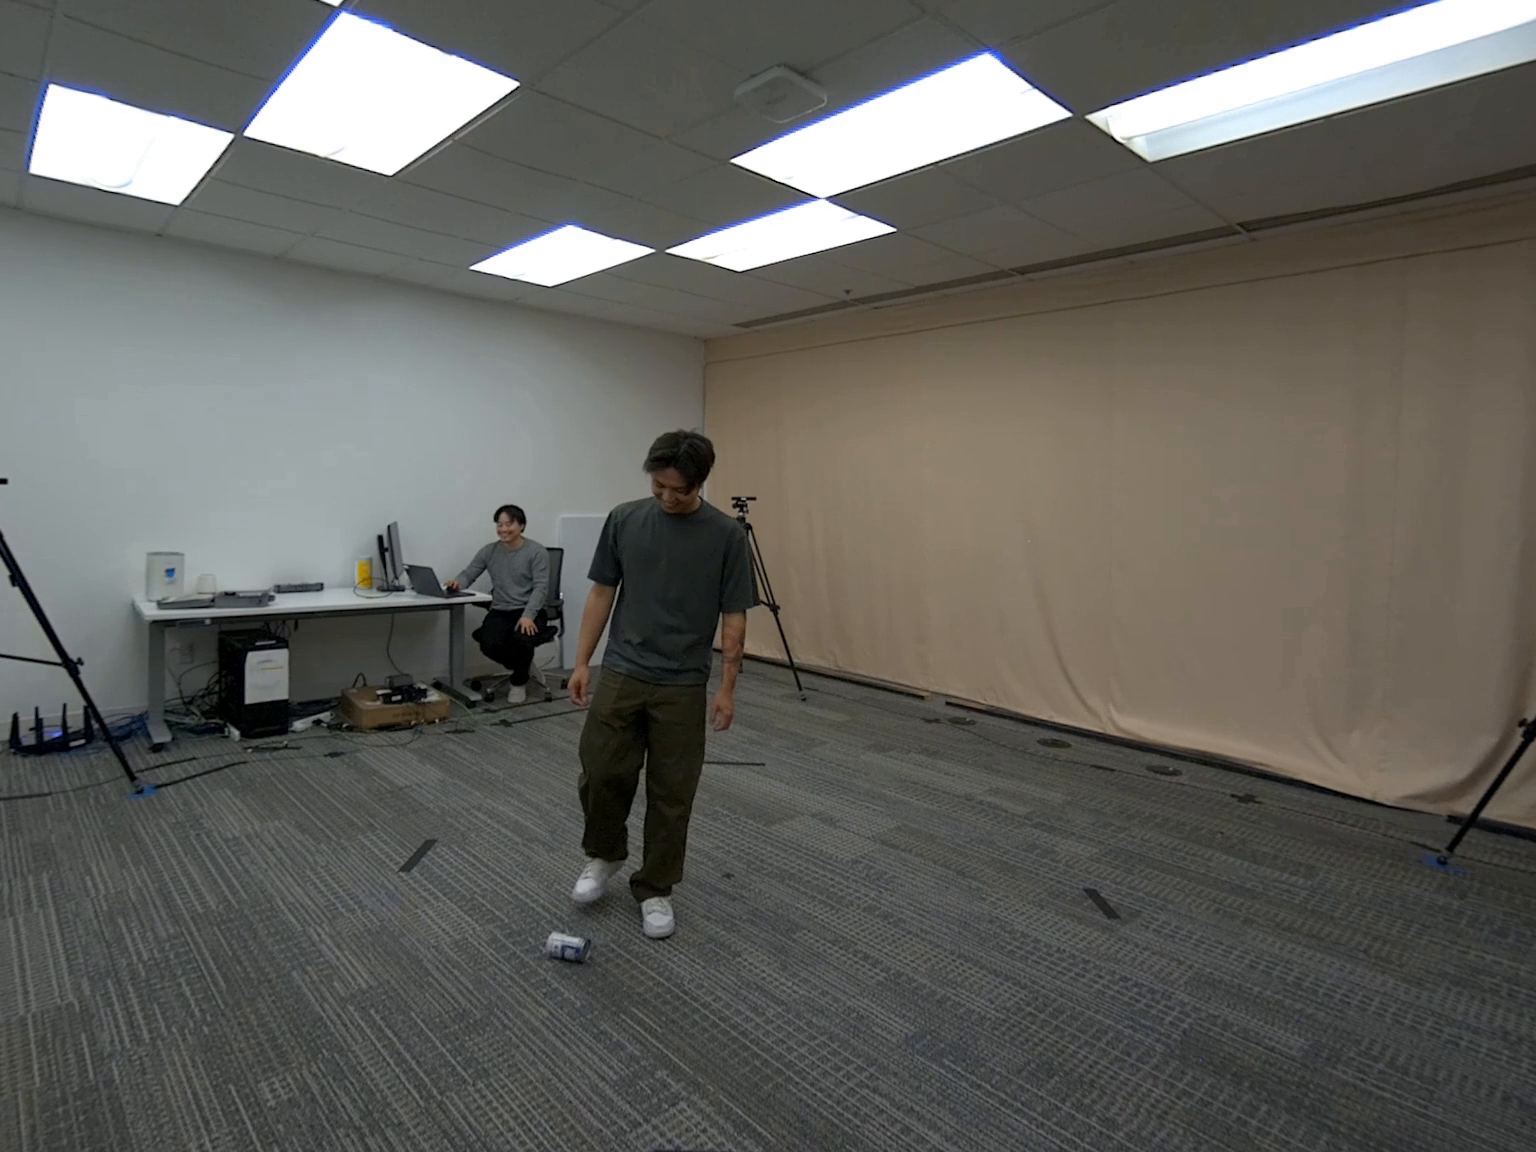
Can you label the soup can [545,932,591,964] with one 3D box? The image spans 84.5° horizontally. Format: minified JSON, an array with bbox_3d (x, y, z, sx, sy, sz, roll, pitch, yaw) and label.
[{"bbox_3d":[-0.613,1.113,2.527,0.123,0.067,0.066,4,5,13],"label":"soup can"}]
